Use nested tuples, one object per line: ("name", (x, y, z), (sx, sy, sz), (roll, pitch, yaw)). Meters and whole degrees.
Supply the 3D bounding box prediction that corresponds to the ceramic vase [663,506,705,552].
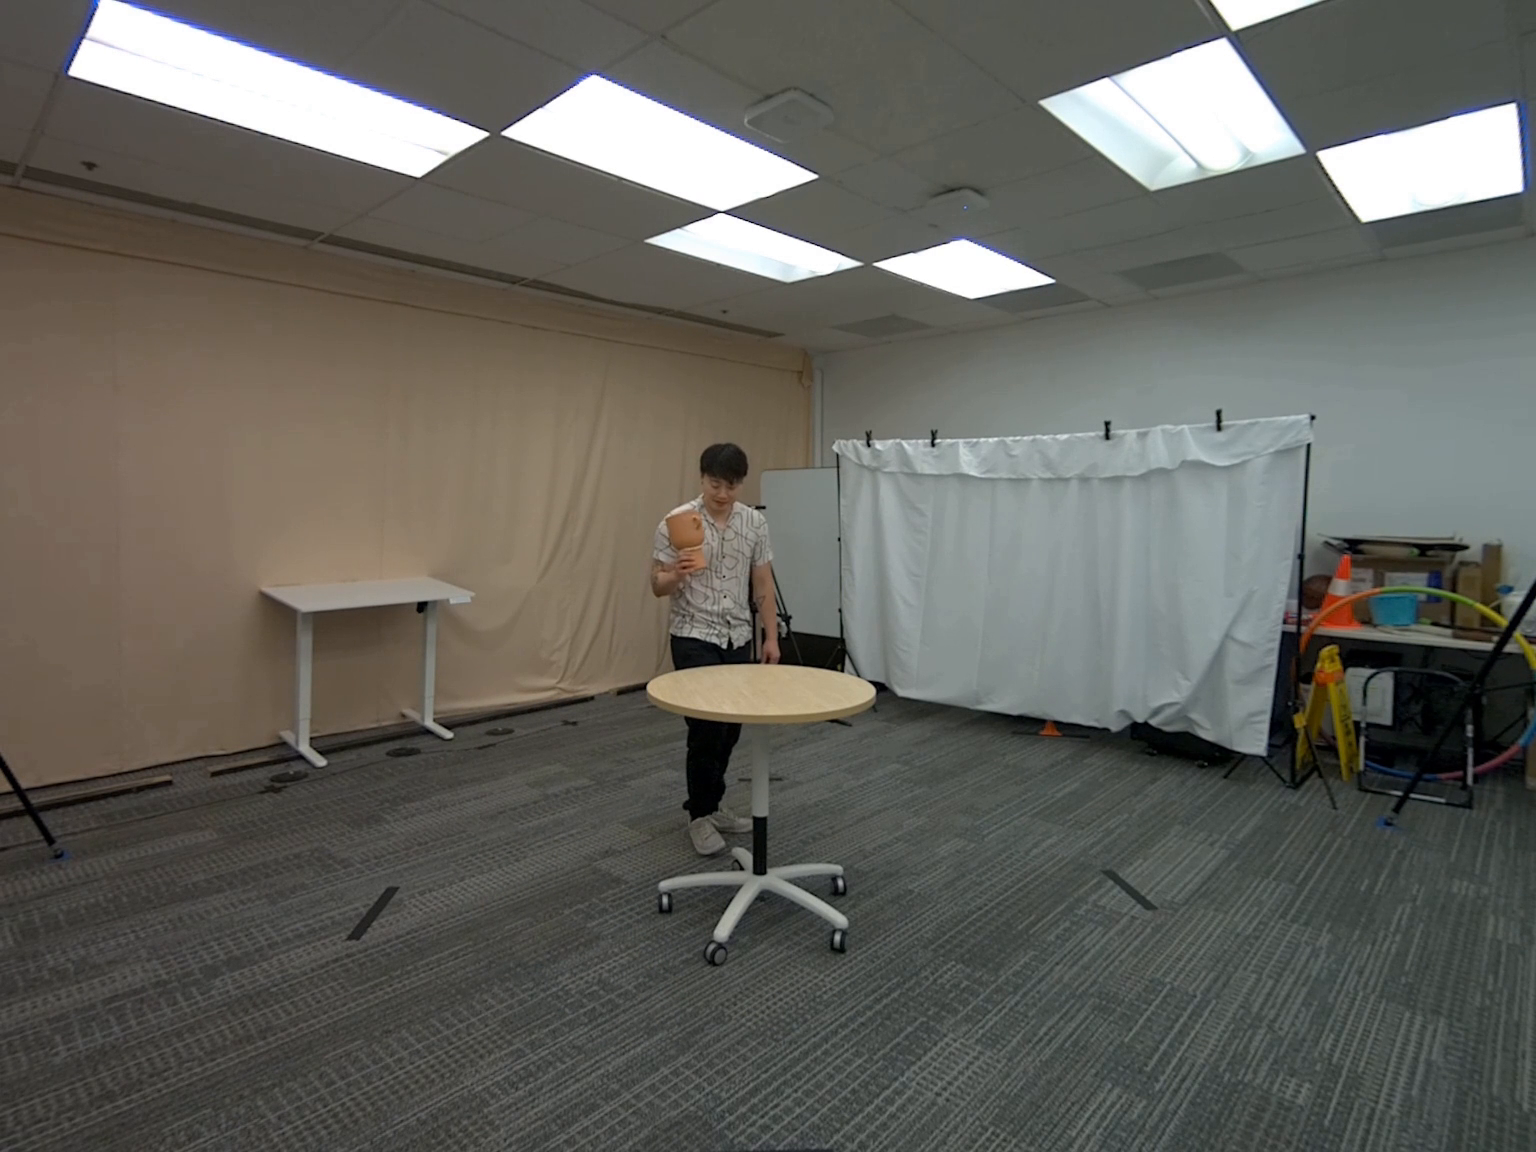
("ceramic vase", (-0.301, -0.129, 3.195), (0.134, 0.220, 0.159), (-11, -1, -4))
